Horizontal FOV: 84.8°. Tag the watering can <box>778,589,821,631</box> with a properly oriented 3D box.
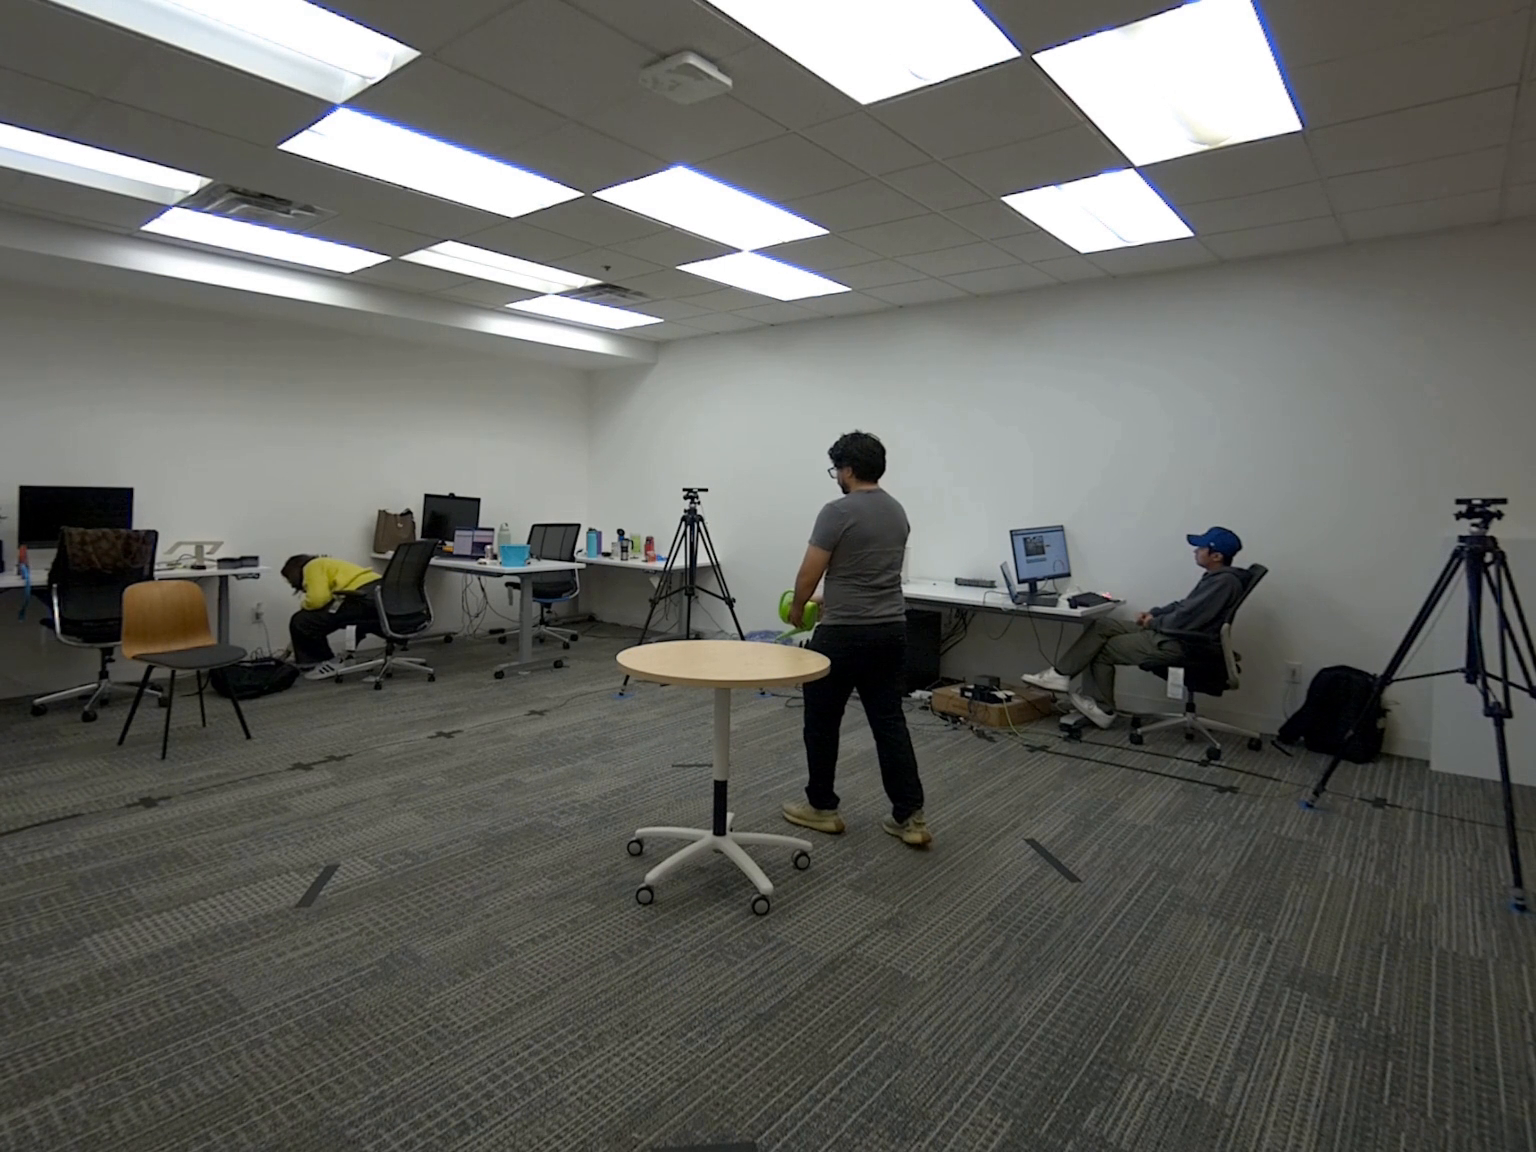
[{"bbox_3d":[0.112,0.190,3.784,0.183,0.272,0.097,18,30,30],"label":"watering can"}]
